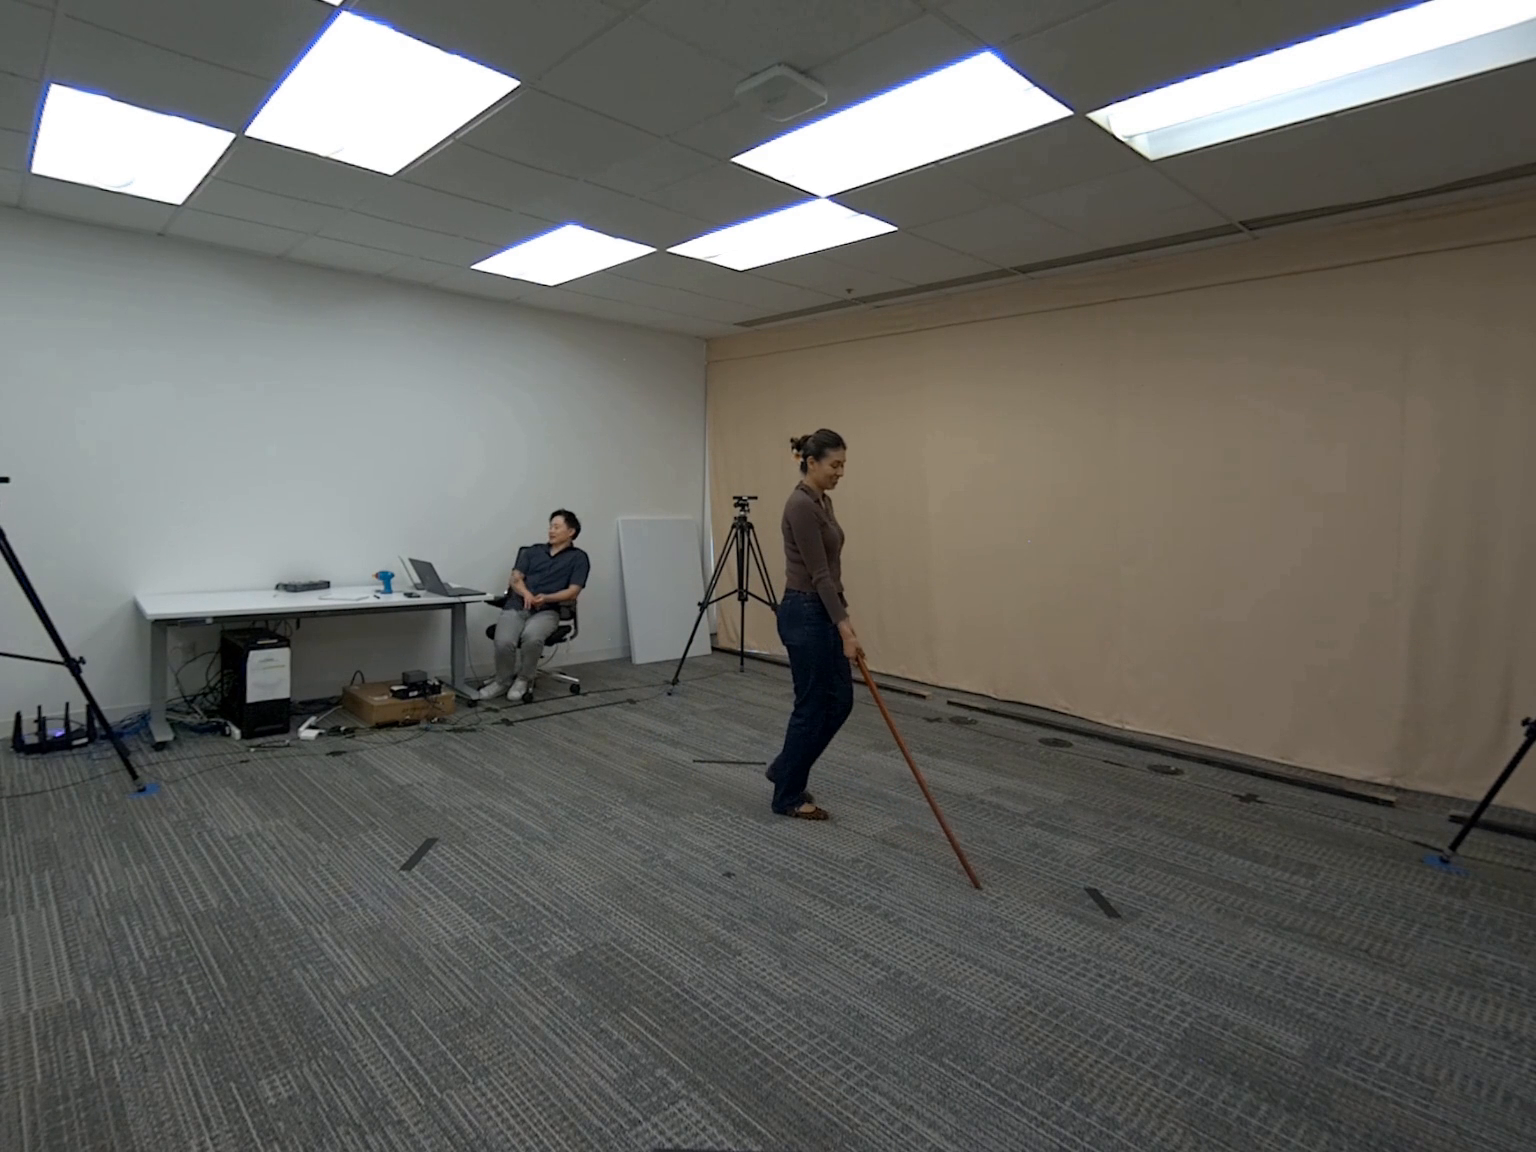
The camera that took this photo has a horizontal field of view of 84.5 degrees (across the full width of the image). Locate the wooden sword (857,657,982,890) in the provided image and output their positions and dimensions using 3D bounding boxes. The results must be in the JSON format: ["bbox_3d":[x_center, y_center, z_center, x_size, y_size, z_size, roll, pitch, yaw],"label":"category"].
[{"bbox_3d":[0.549,0.722,3.280,0.024,1.050,0.050,-35,-27,15],"label":"wooden sword"}]
